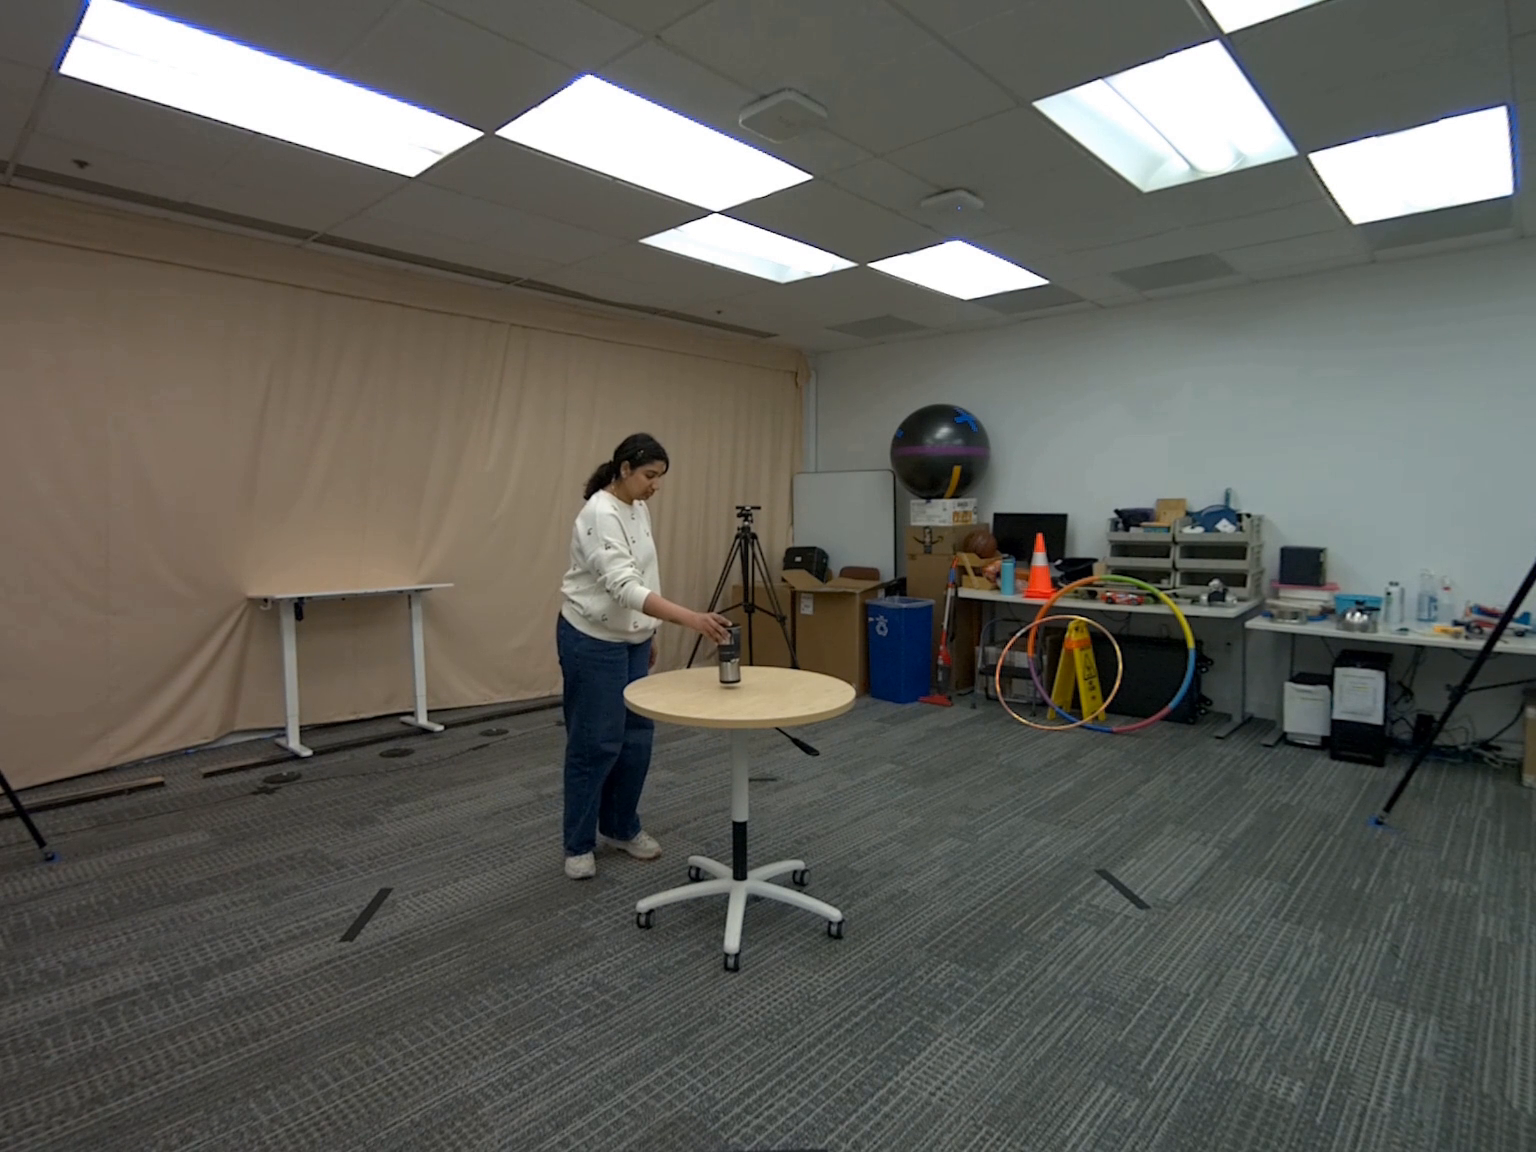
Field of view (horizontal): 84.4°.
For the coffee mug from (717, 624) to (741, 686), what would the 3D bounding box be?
[{"bbox_3d":[-0.146,0.261,2.796,0.091,0.203,0.118,1,2,37],"label":"coffee mug"}]
